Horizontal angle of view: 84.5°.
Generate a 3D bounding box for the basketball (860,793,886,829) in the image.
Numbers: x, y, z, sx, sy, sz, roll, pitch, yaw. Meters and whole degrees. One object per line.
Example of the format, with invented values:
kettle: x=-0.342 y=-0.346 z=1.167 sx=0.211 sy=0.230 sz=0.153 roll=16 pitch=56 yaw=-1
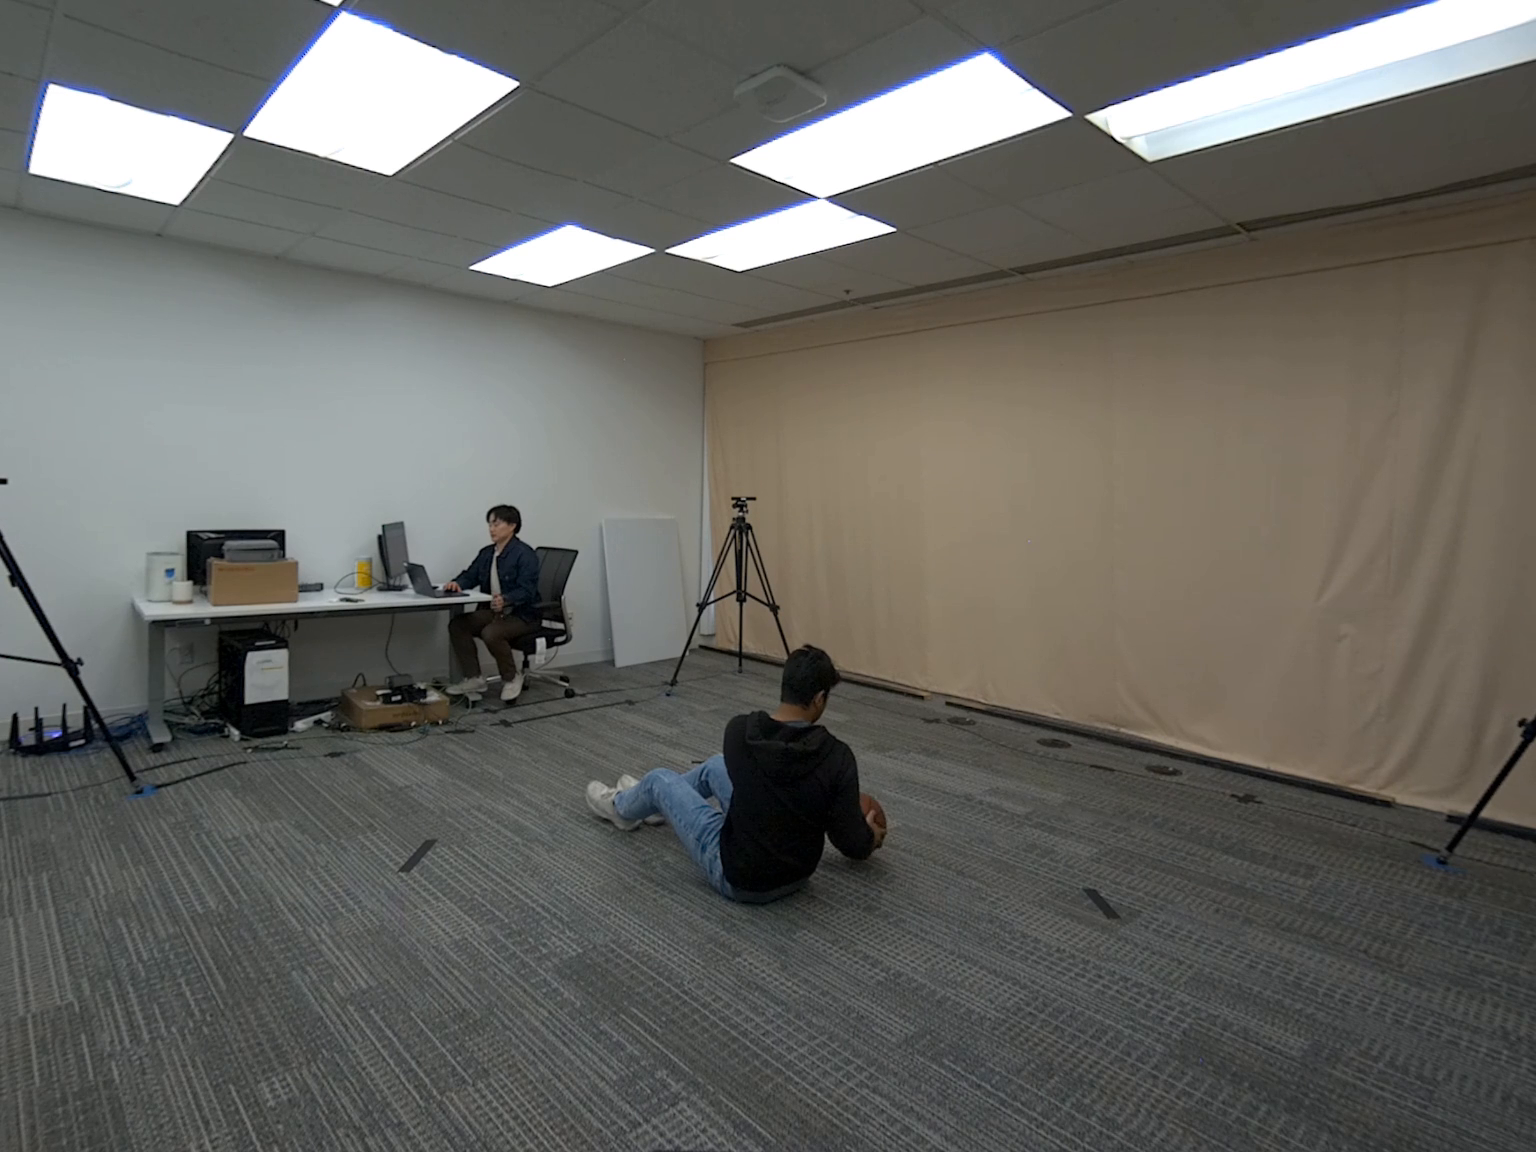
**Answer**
basketball: x=0.321 y=0.944 z=3.262 sx=0.236 sy=0.235 sz=0.237 roll=1 pitch=4 yaw=-1
